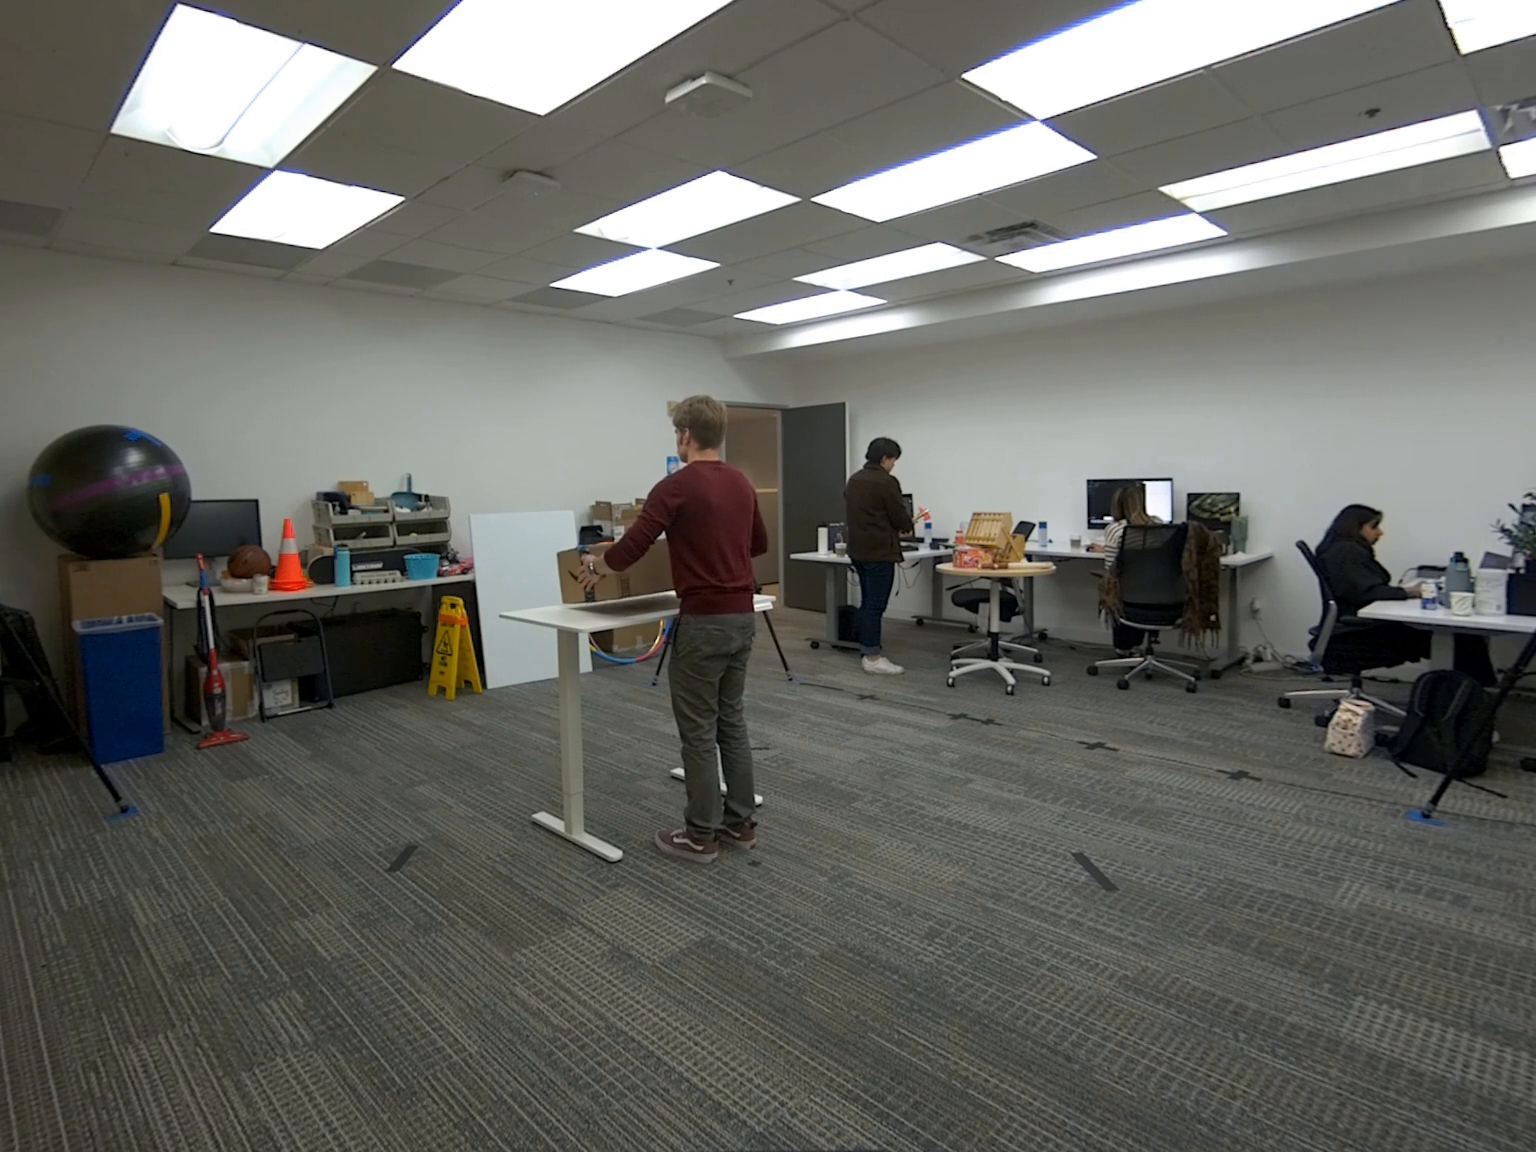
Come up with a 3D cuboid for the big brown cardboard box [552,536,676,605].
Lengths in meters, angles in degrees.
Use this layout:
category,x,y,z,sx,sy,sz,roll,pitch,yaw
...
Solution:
category,x,y,z,sx,sy,sz,roll,pitch,yaw
big brown cardboard box,-0.519,-0.036,3.556,0.574,0.233,0.429,-7,2,-44
